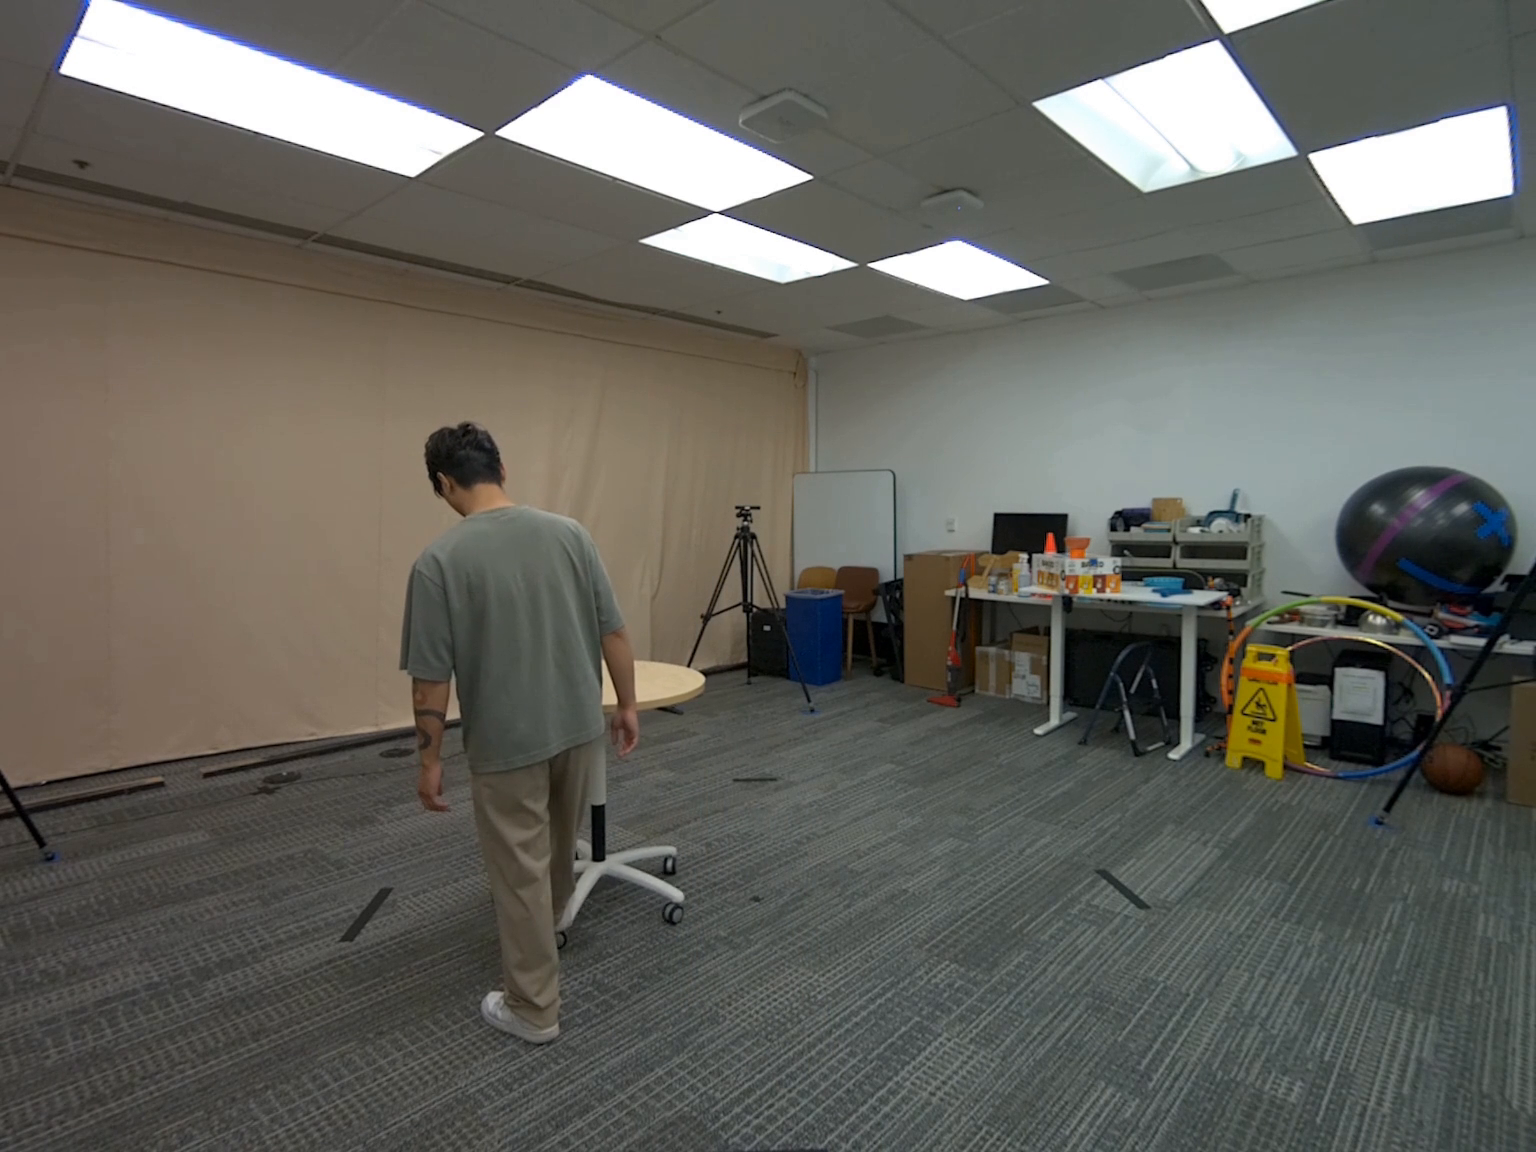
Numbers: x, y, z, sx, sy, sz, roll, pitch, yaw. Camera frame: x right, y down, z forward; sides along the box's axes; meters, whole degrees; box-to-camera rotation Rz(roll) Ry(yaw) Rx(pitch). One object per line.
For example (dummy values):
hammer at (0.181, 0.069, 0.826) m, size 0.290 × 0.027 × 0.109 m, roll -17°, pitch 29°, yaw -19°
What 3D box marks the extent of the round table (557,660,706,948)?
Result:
round table at (-0.585, 0.755, 2.983) m, size 0.784 × 0.785 × 0.788 m, roll -1°, pitch 4°, yaw -2°
